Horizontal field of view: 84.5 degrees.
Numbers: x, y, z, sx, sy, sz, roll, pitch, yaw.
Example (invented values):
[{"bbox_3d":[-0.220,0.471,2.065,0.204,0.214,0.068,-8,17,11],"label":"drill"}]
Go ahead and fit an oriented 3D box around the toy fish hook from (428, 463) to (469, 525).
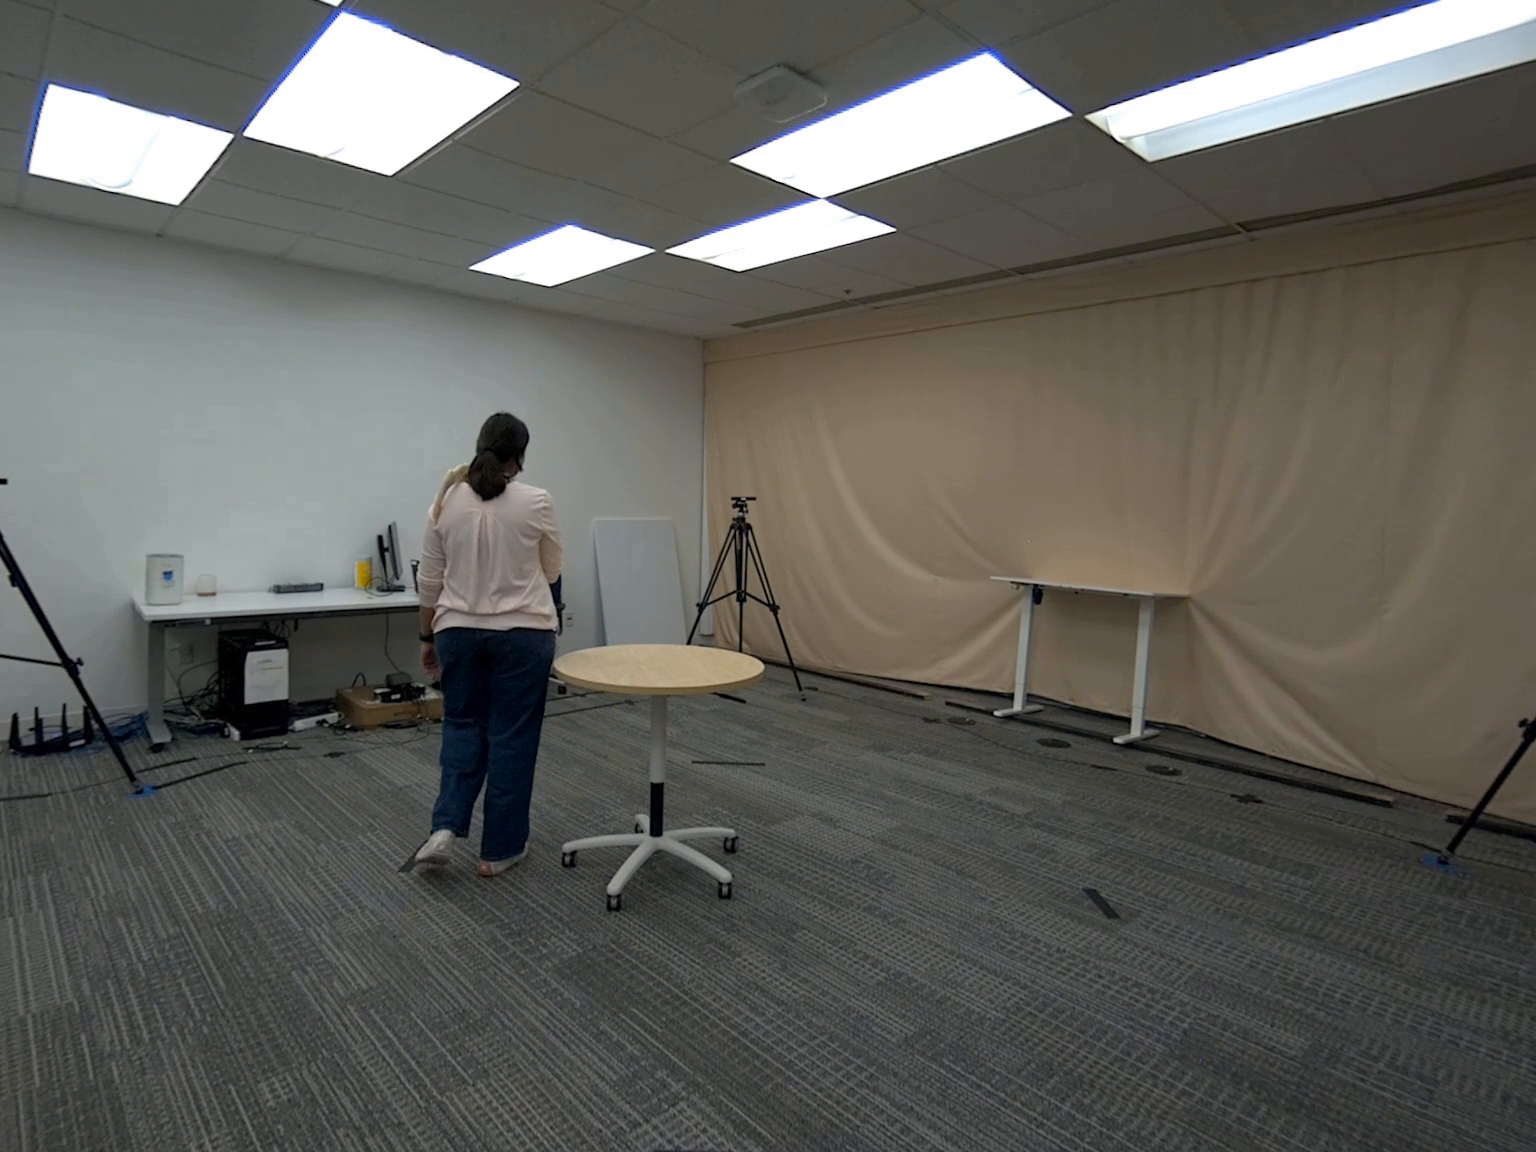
[{"bbox_3d":[-1.162,-0.171,3.078,0.049,0.500,0.224,22,28,15],"label":"toy fish hook"}]
